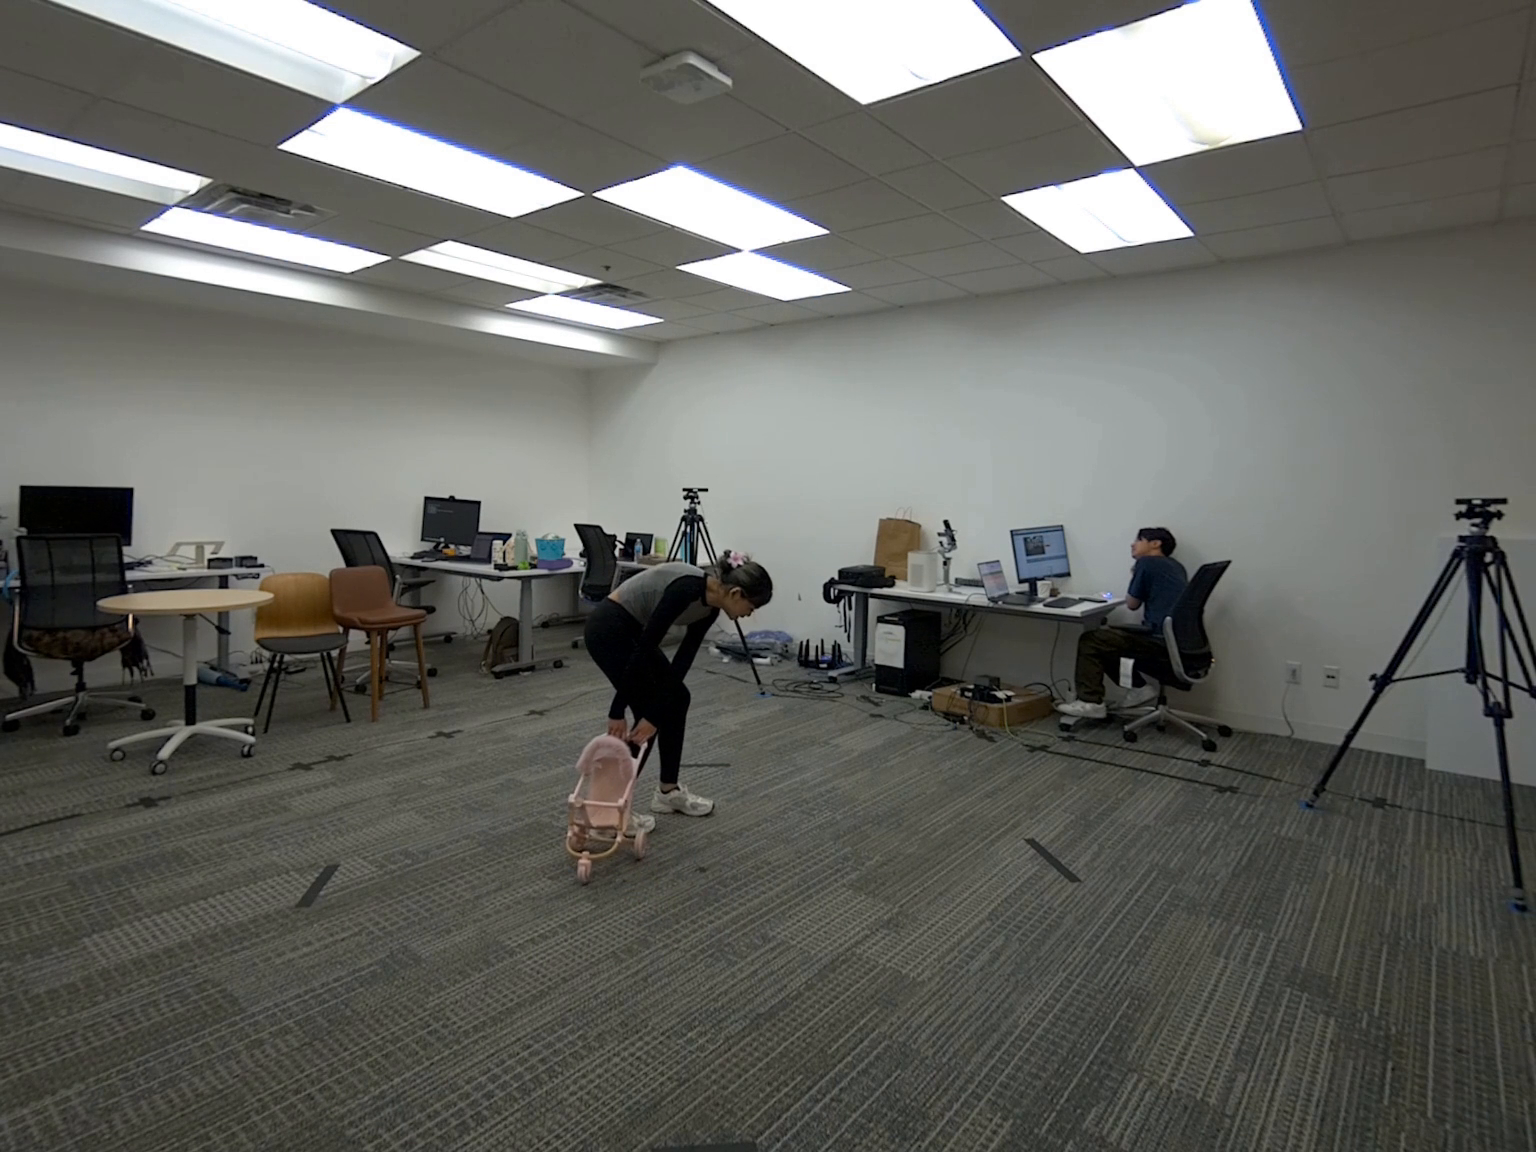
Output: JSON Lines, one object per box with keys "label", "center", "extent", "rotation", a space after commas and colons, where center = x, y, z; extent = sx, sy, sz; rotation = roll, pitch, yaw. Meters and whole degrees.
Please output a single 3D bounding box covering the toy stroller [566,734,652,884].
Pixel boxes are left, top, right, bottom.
{"label": "toy stroller", "center": [-0.620, 0.831, 3.164], "extent": [0.286, 0.542, 0.331], "rotation": [1, -16, 14]}
